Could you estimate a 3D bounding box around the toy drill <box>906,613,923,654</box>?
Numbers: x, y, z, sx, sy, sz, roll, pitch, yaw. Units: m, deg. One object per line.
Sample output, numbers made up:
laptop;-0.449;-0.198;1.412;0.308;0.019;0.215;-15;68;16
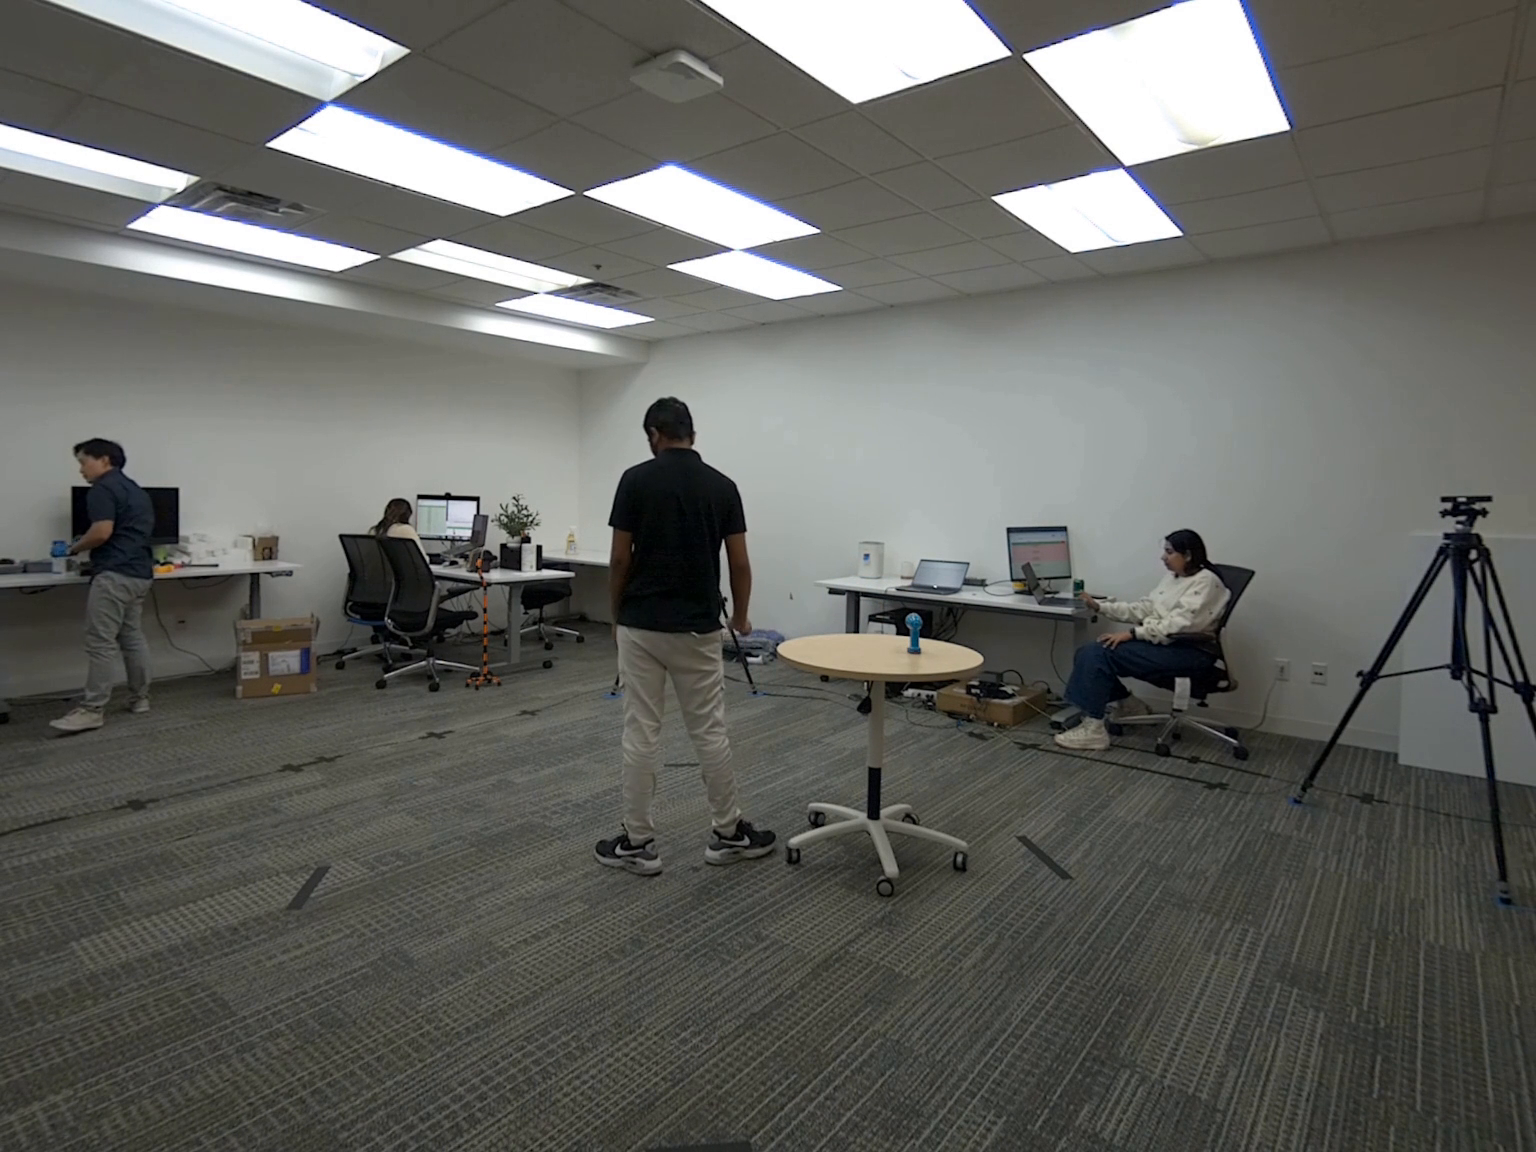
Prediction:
toy drill;0.547;0.210;3.262;0.061;0.145;0.171;0;5;-5
